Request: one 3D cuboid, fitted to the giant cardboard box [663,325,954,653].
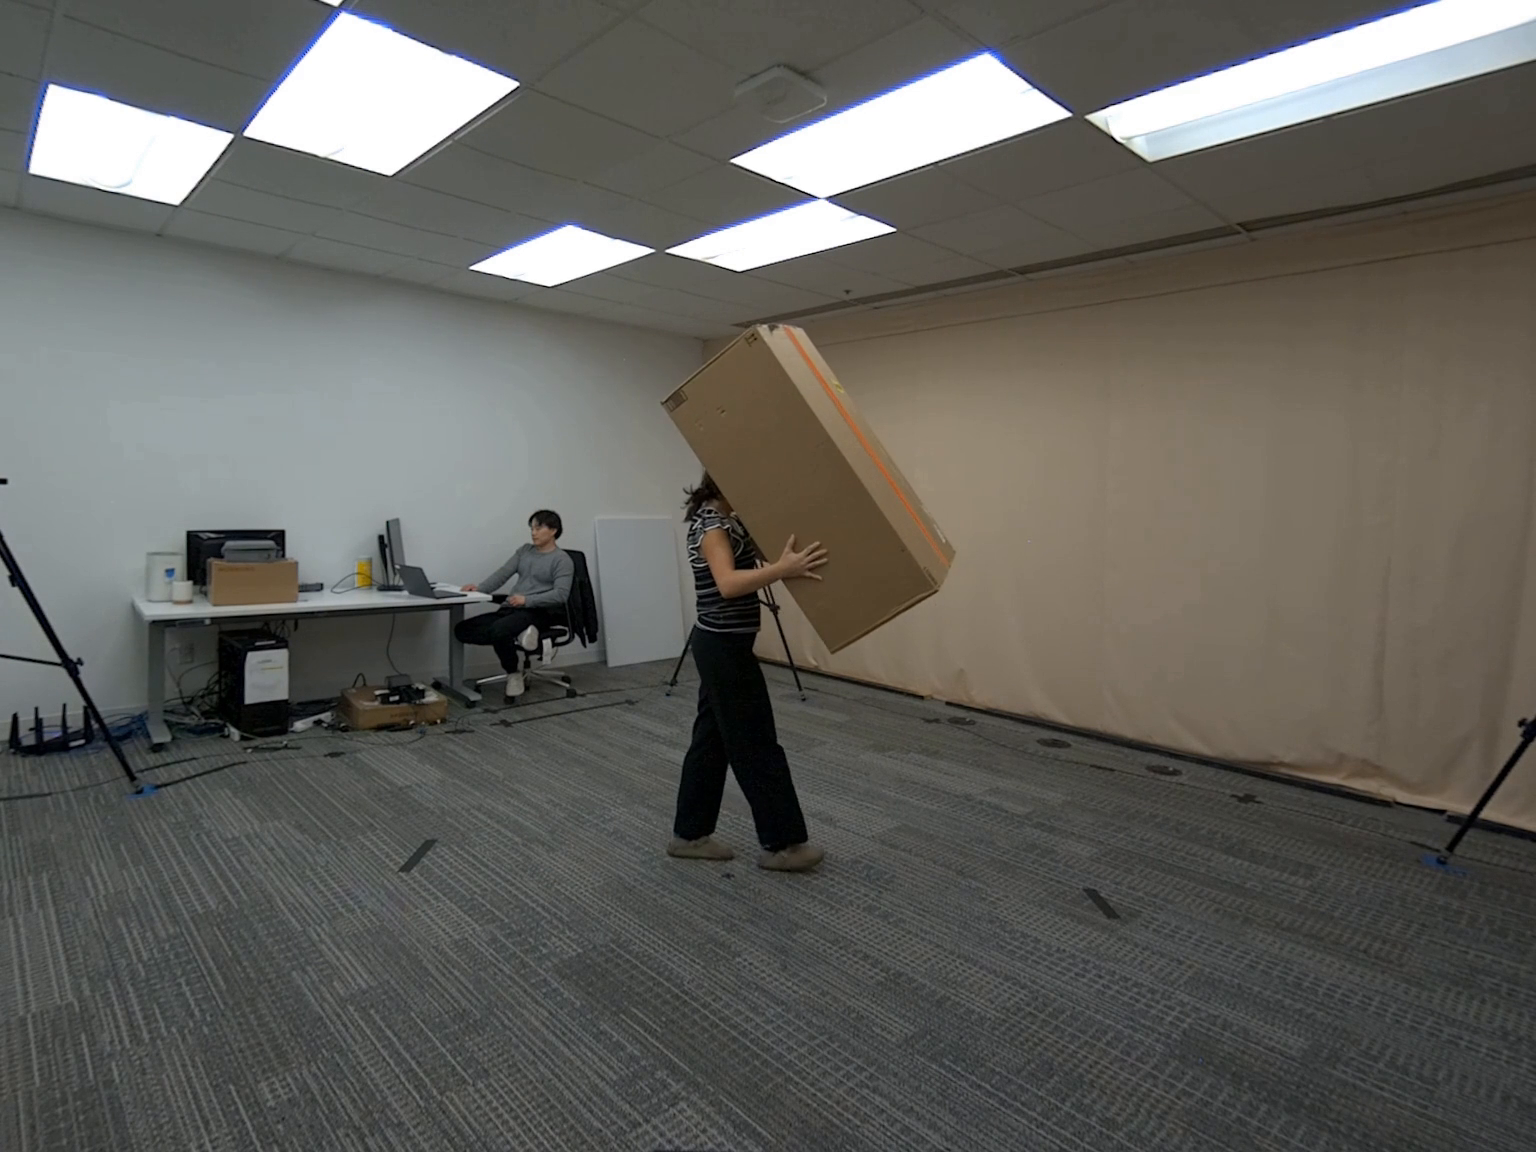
[{"bbox_3d":[0.170,-0.329,2.978,0.428,1.027,0.574,-35,-1,23],"label":"giant cardboard box"}]
